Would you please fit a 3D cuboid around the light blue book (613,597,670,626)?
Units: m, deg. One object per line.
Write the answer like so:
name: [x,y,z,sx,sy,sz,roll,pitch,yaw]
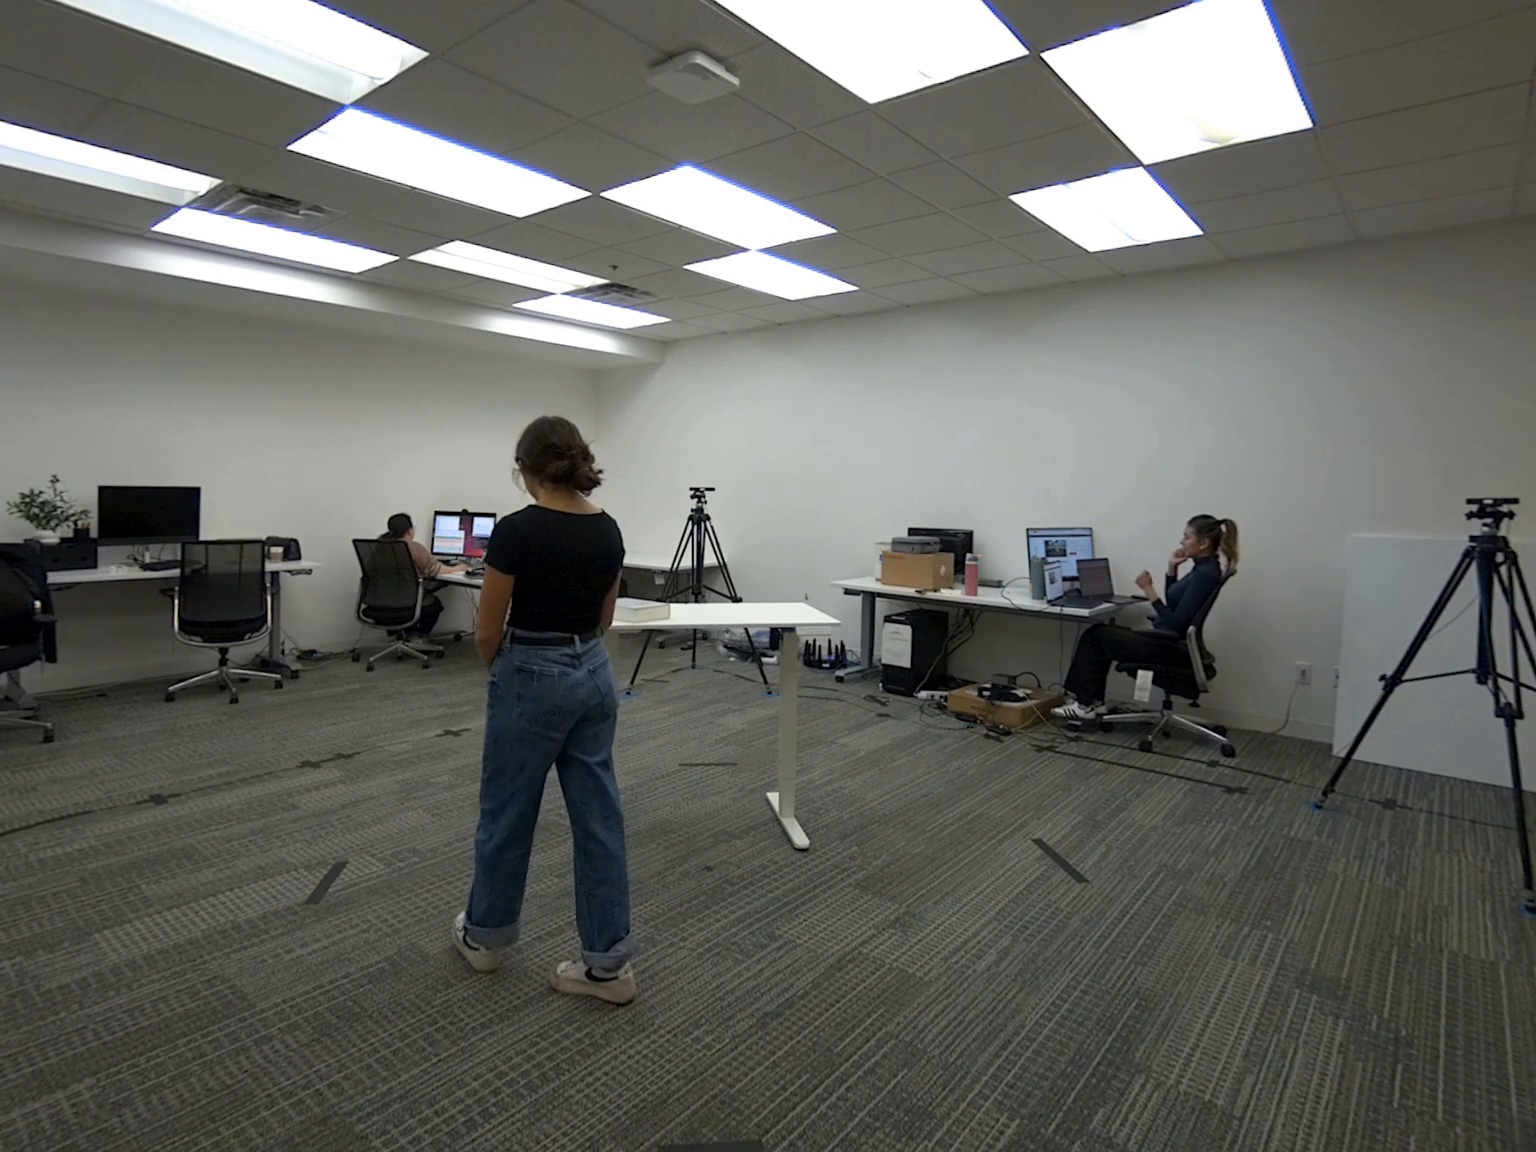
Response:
light blue book: [-0.546,0.130,3.334,0.186,0.059,0.270,-5,7,-45]
